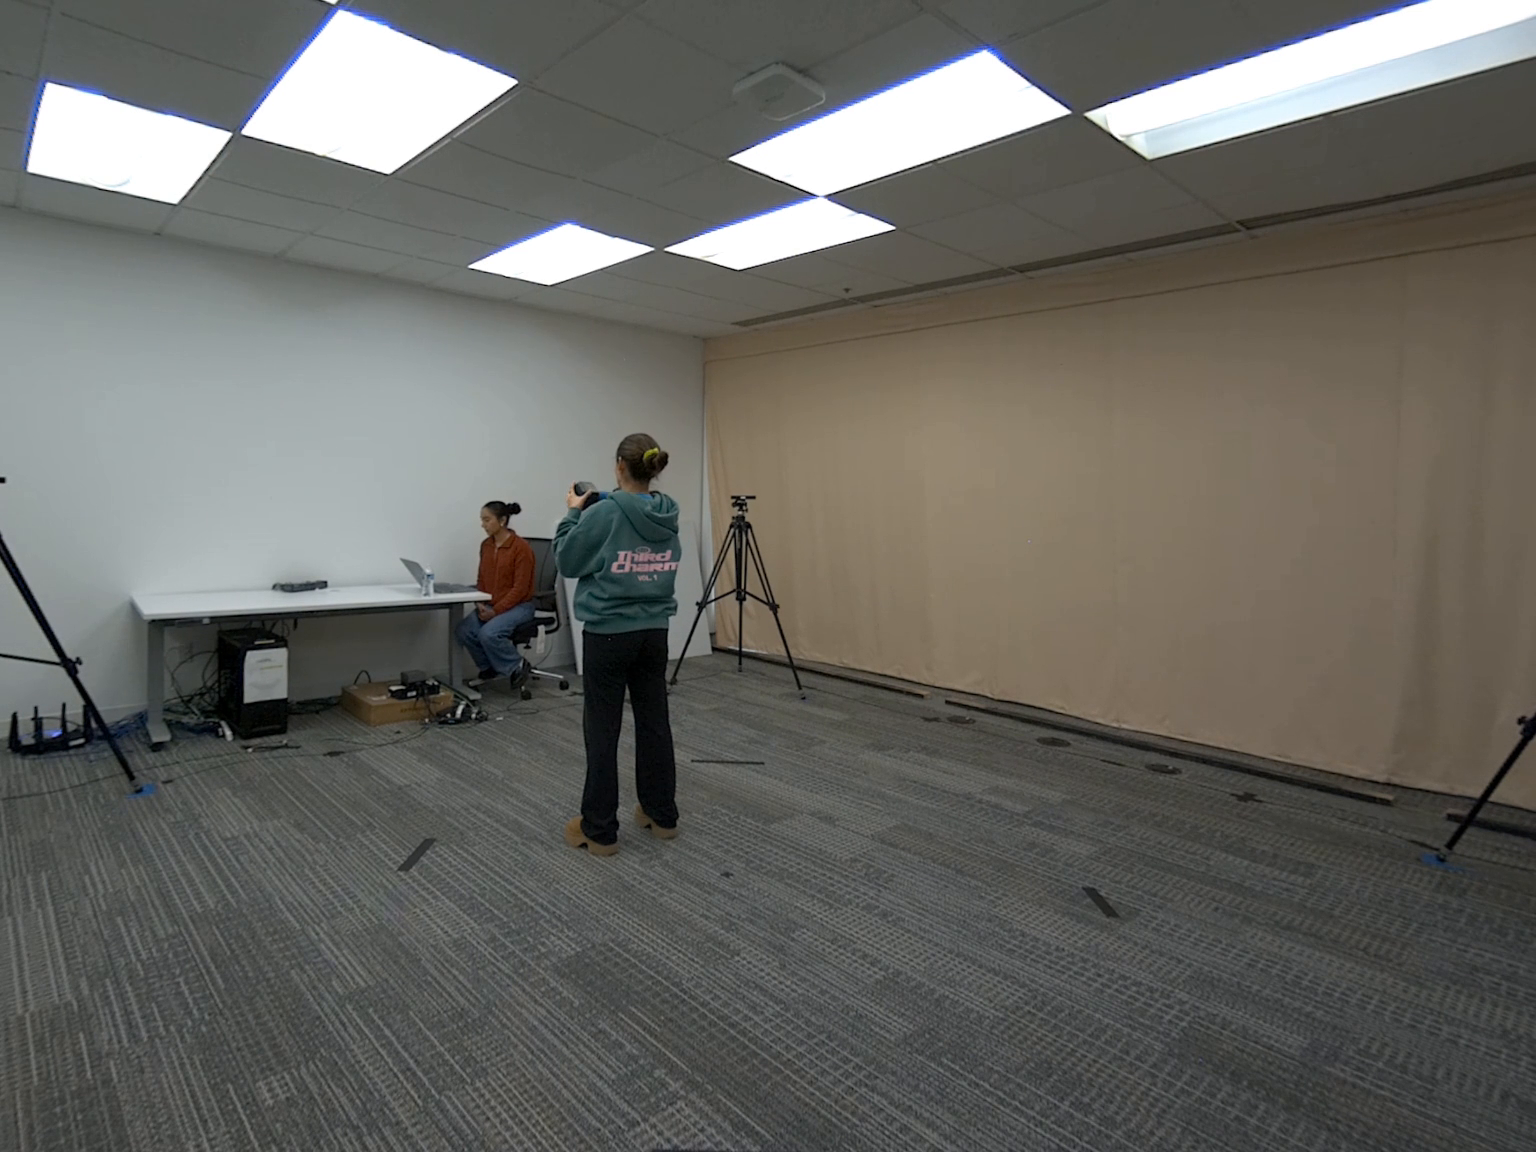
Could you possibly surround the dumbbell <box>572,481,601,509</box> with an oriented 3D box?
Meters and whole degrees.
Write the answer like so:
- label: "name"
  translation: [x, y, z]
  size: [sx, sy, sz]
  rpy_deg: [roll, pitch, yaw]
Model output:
- label: "dumbbell"
  translation: [-0.677, -0.316, 3.488]
  size: [0.286, 0.108, 0.126]
  rpy_deg: [0, 42, -47]
